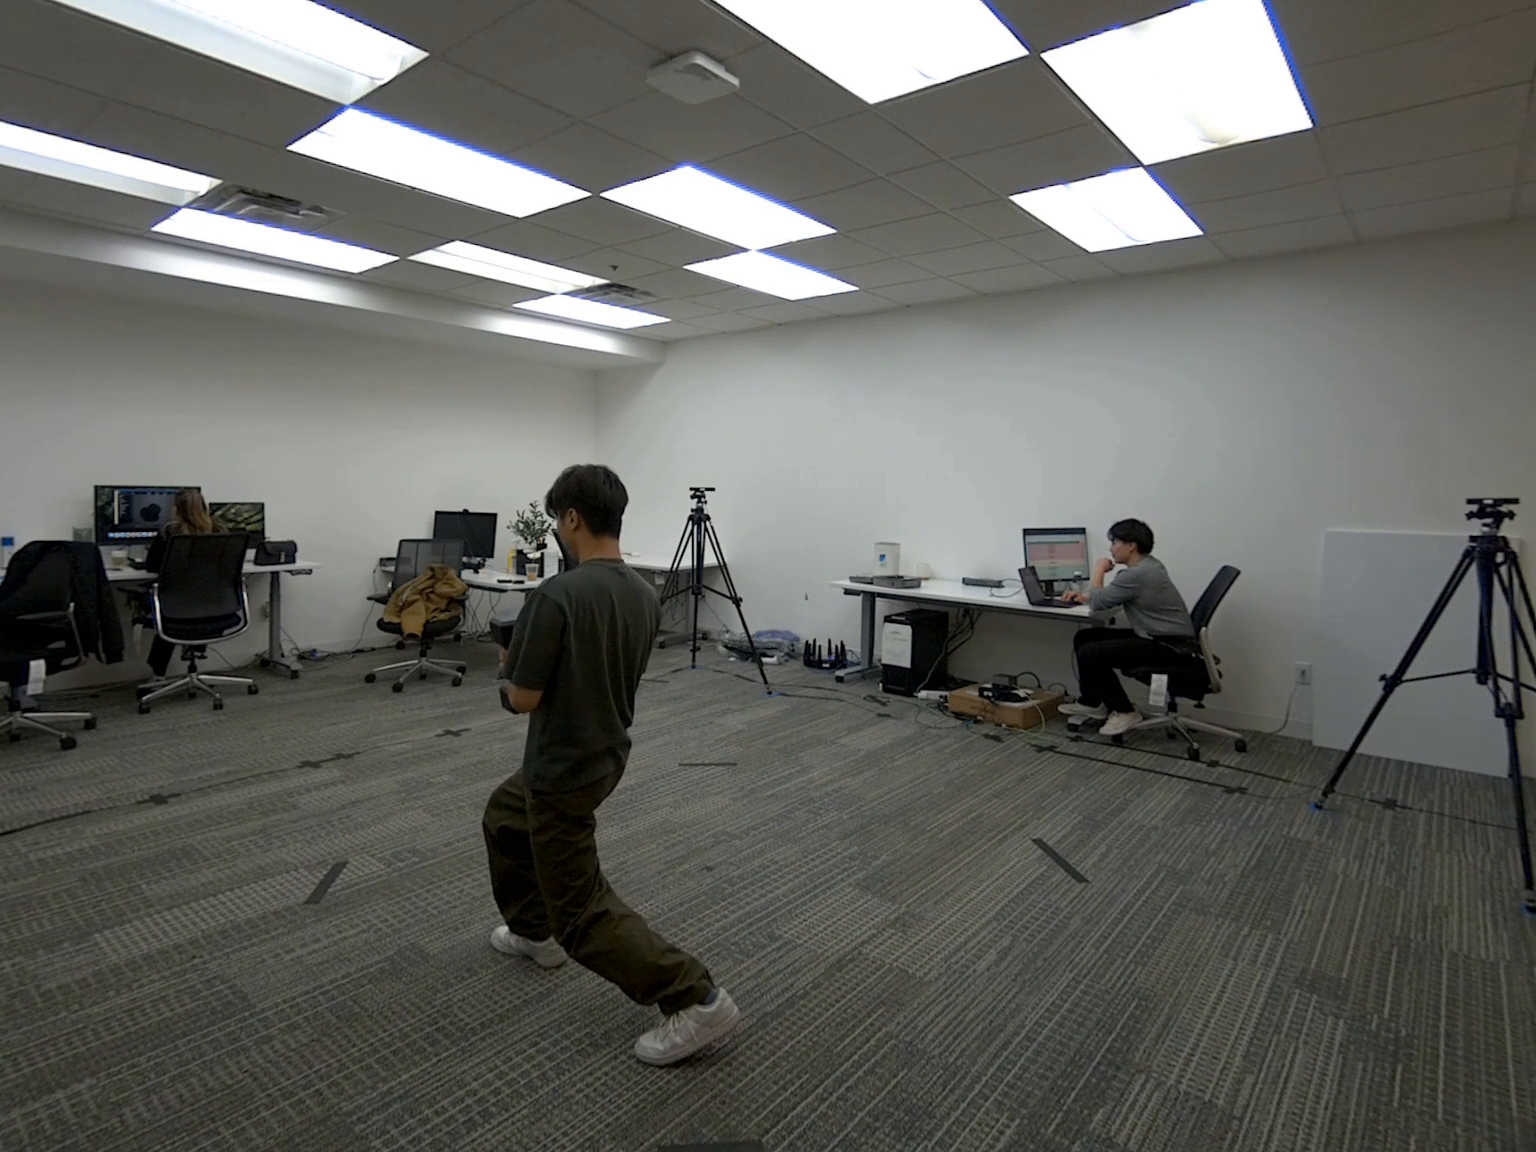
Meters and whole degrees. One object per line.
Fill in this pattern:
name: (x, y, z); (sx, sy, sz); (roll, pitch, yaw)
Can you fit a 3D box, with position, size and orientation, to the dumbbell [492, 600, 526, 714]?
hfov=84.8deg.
dumbbell: (-0.711, 0.230, 2.441); (0.122, 0.288, 0.112); (-8, 18, -11)
